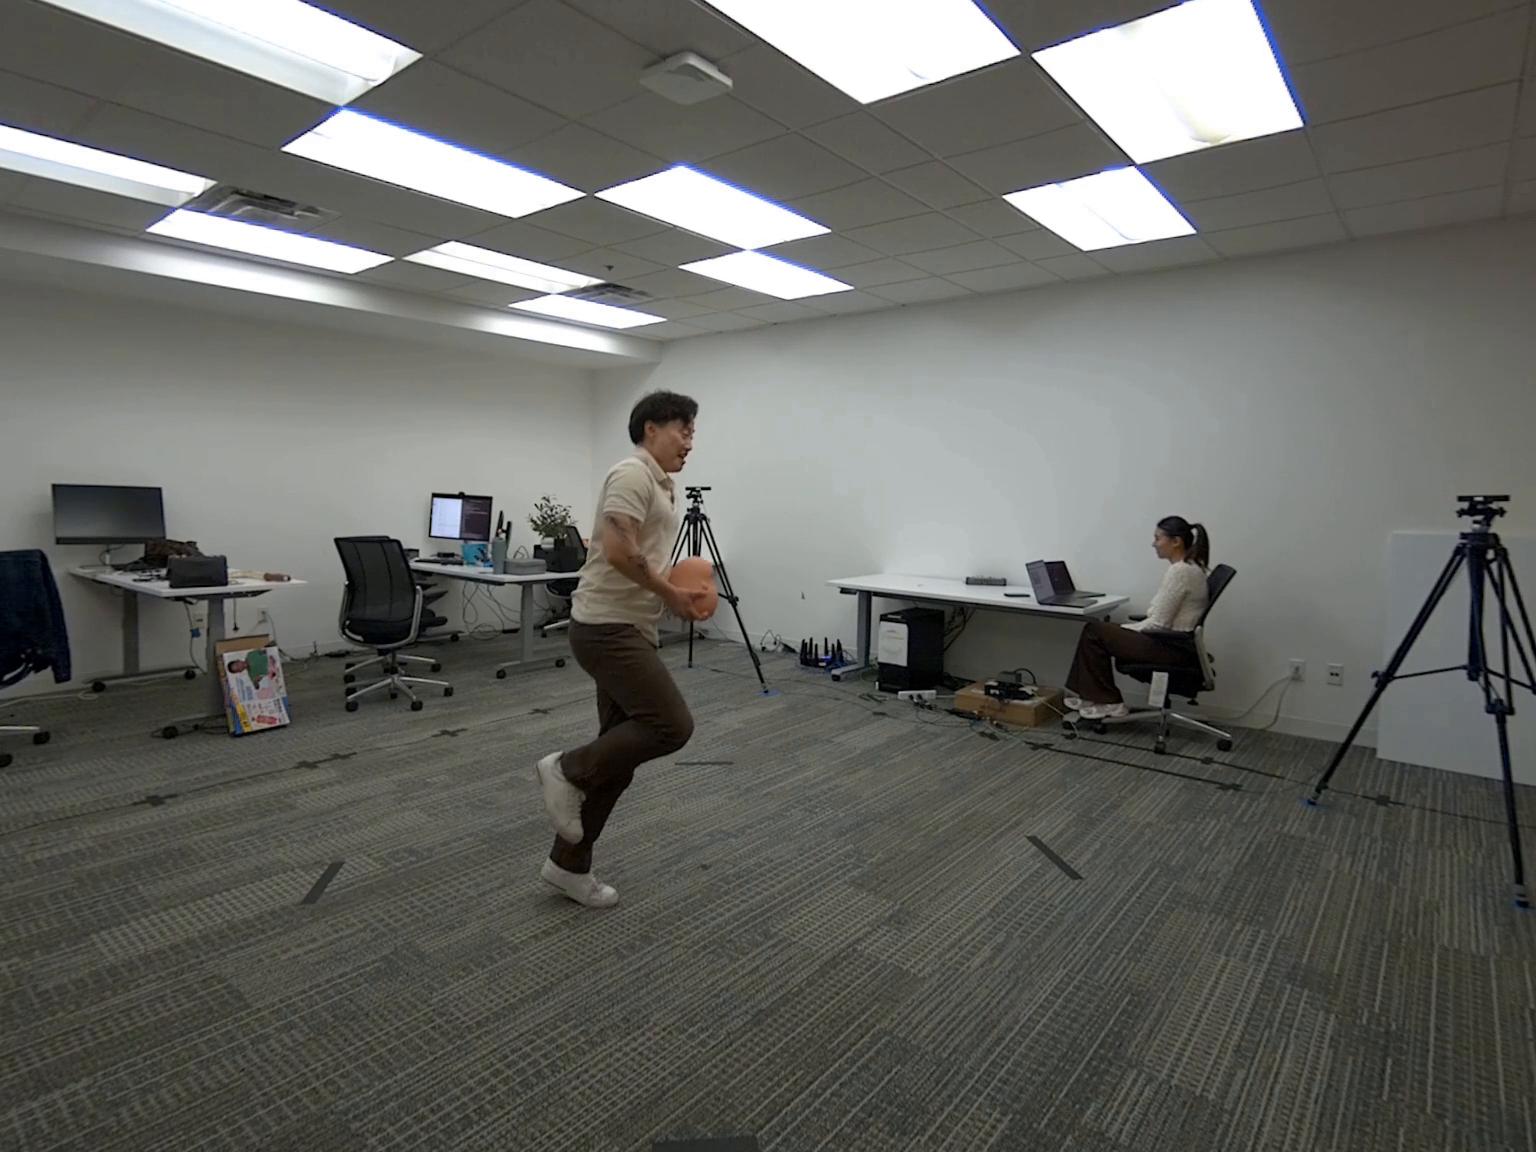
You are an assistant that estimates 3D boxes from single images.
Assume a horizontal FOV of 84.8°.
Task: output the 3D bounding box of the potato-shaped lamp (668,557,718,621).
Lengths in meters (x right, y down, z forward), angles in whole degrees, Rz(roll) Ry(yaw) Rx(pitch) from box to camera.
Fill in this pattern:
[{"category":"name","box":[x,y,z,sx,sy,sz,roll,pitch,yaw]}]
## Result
[{"category":"potato-shaped lamp","box":[-0.259,0.047,2.827,0.174,0.198,0.162,9,2,11]}]
